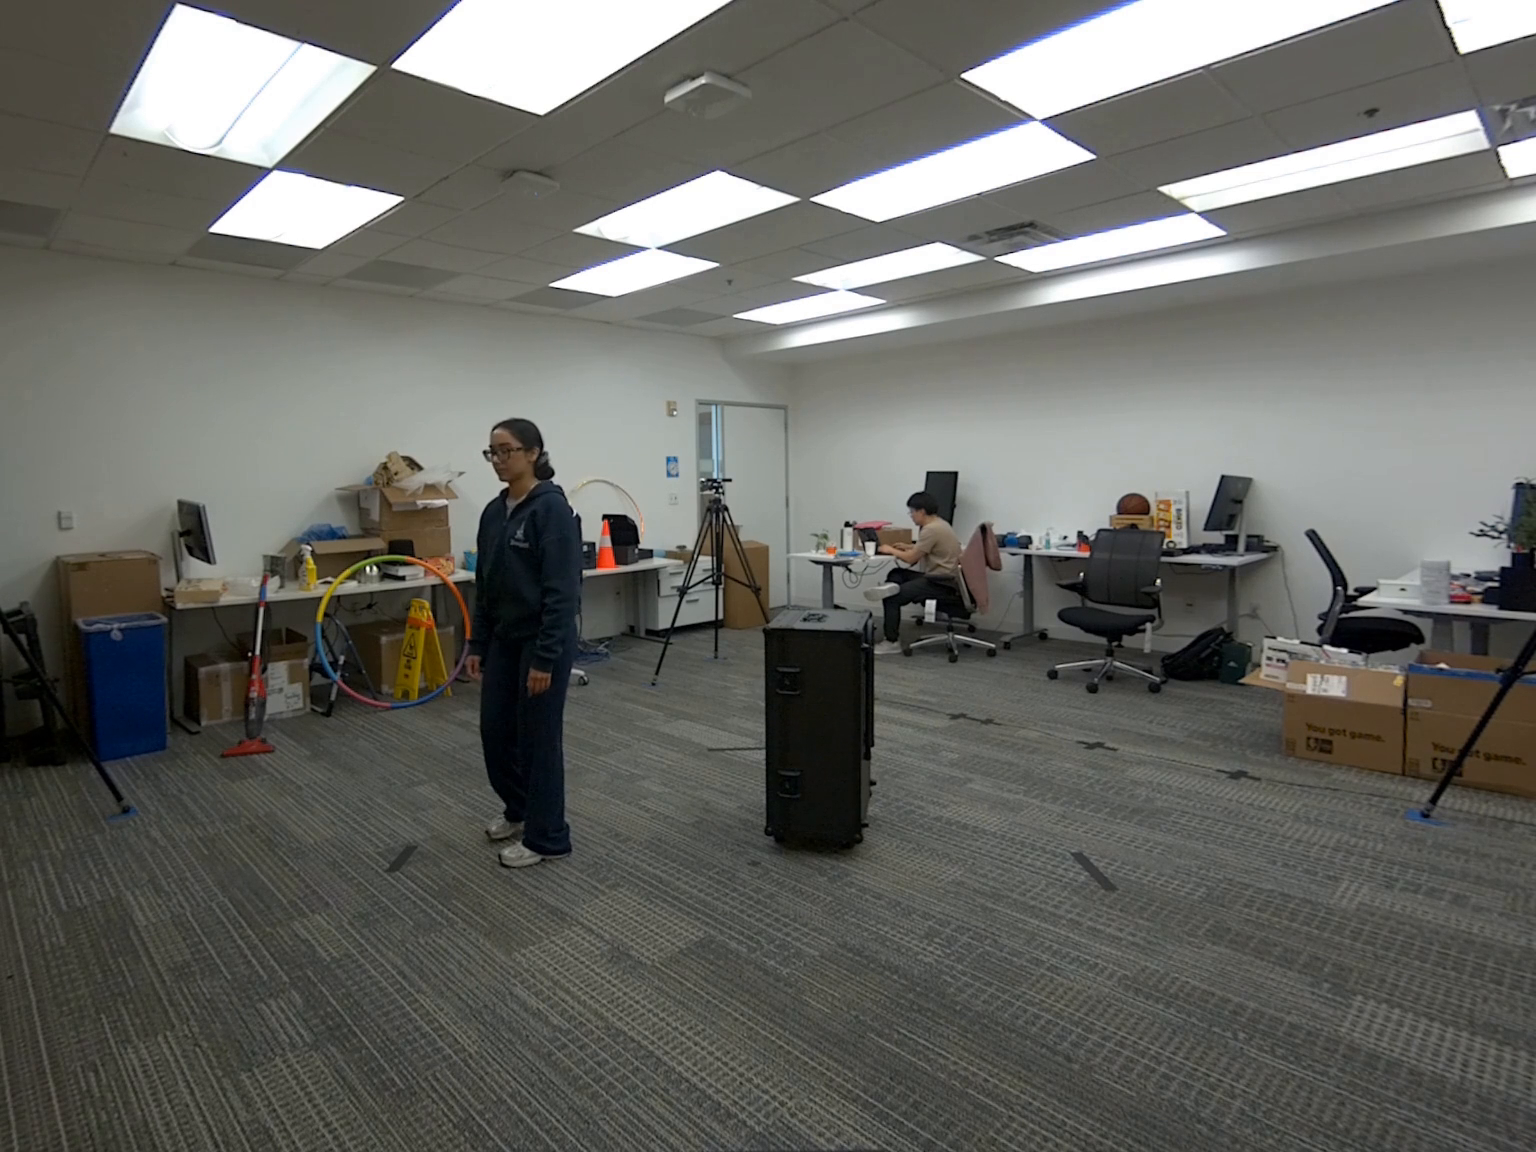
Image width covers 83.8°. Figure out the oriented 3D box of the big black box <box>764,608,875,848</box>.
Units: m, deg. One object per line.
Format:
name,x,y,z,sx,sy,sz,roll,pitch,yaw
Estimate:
big black box,0.224,0.587,3.352,0.401,0.858,0.517,1,5,12
